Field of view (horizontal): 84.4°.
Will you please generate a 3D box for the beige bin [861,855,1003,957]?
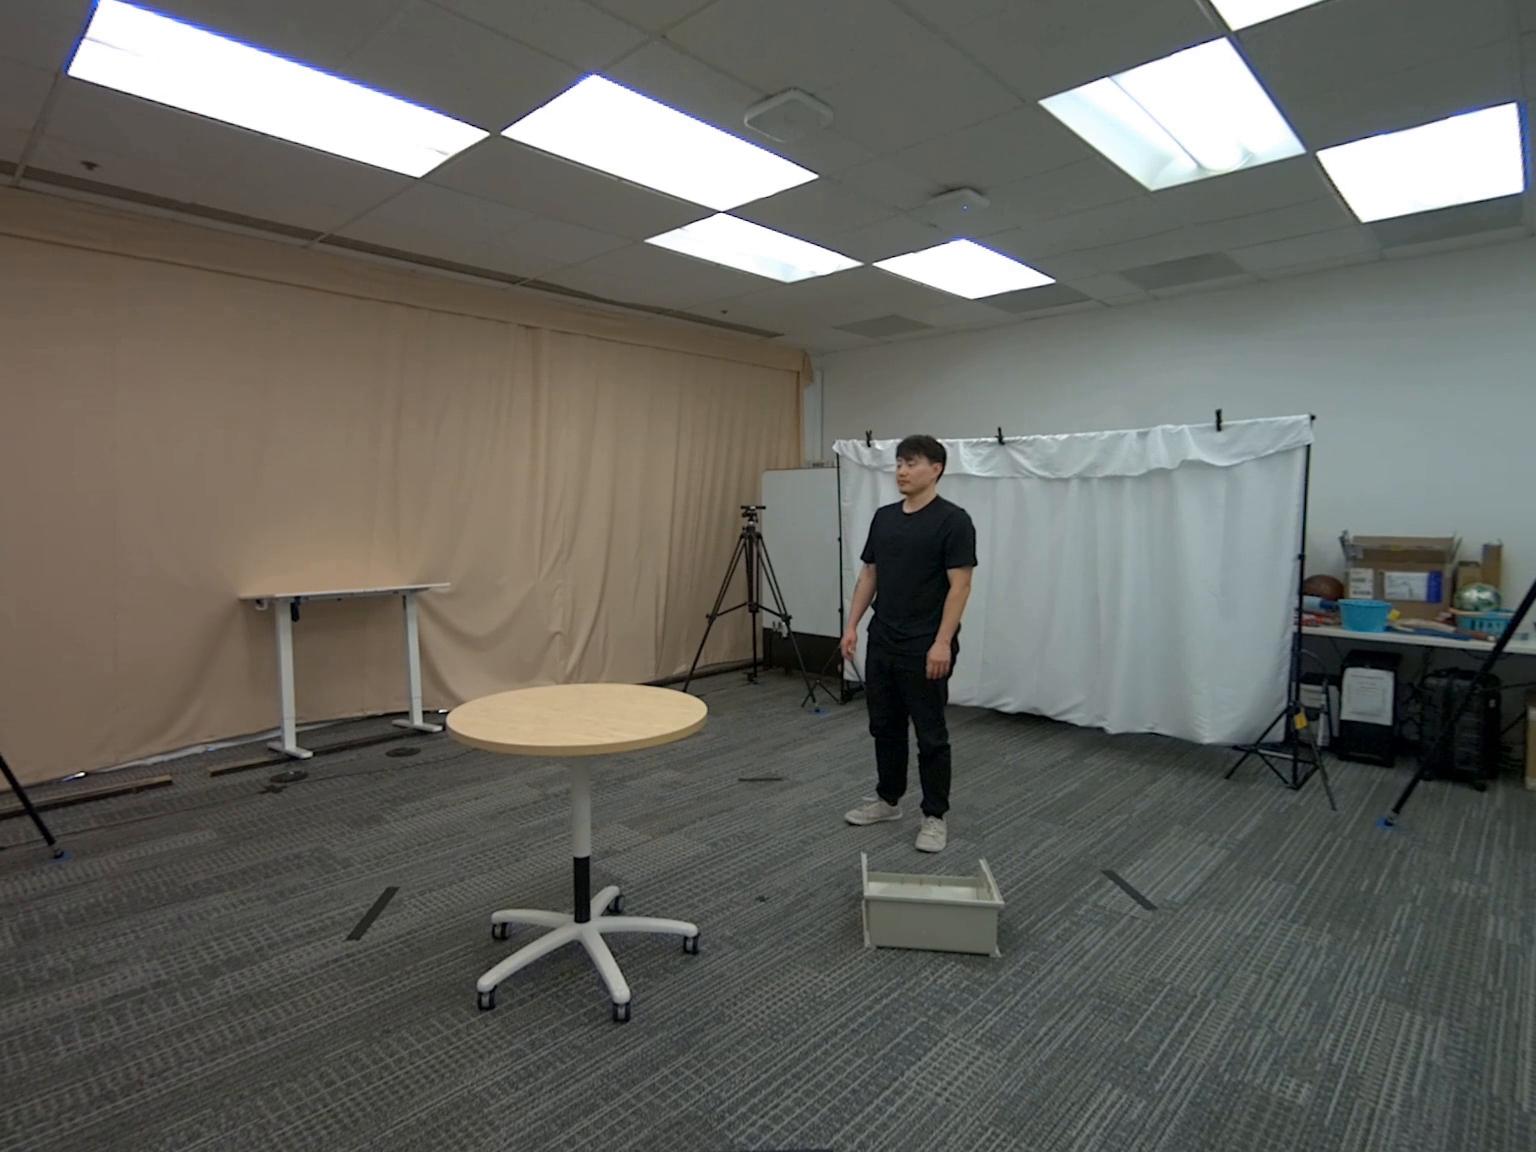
[{"bbox_3d":[0.531,1.075,2.779,0.426,0.188,0.375,1,5,6],"label":"beige bin"}]
